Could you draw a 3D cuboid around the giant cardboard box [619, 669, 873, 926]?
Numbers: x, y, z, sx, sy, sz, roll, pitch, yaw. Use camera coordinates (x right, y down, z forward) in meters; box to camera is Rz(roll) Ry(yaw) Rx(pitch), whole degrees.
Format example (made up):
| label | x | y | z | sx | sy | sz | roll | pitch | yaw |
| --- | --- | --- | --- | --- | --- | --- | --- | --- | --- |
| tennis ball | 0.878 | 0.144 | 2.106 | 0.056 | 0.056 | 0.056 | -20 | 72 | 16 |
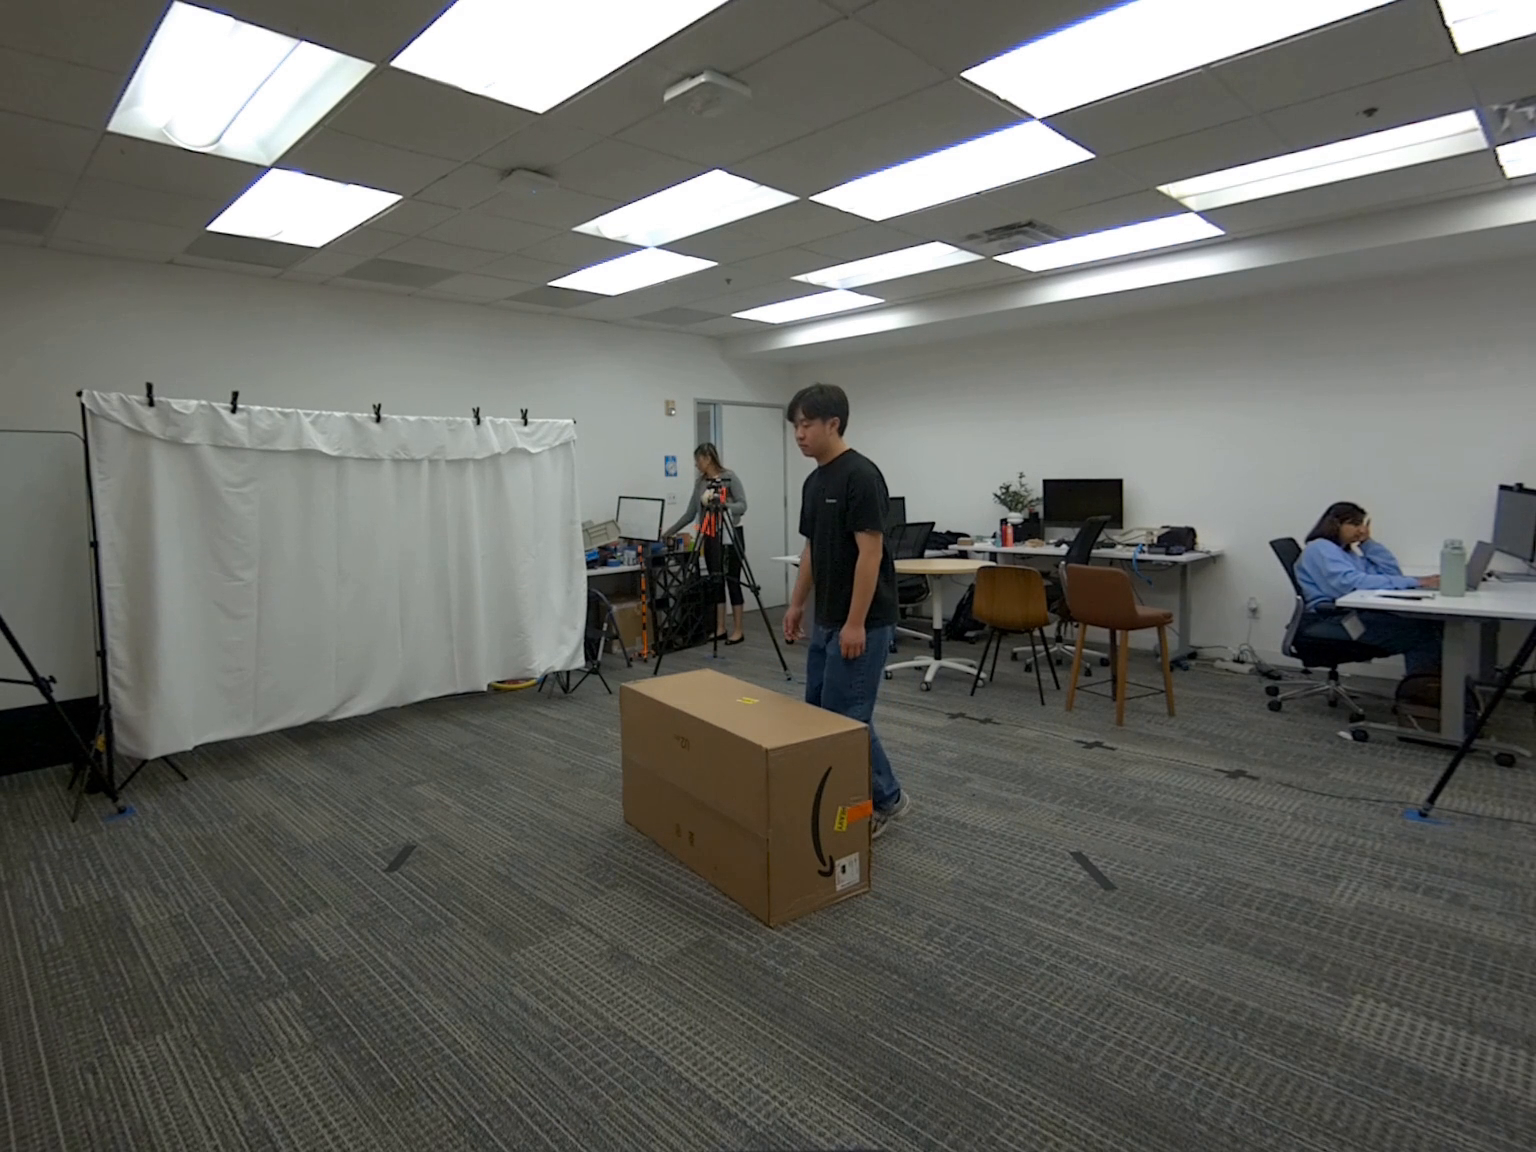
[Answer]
| label | x | y | z | sx | sy | sz | roll | pitch | yaw |
| --- | --- | --- | --- | --- | --- | --- | --- | --- | --- |
| giant cardboard box | -0.126 | 0.750 | 3.173 | 0.435 | 0.581 | 1.058 | -3 | 6 | -34 |
